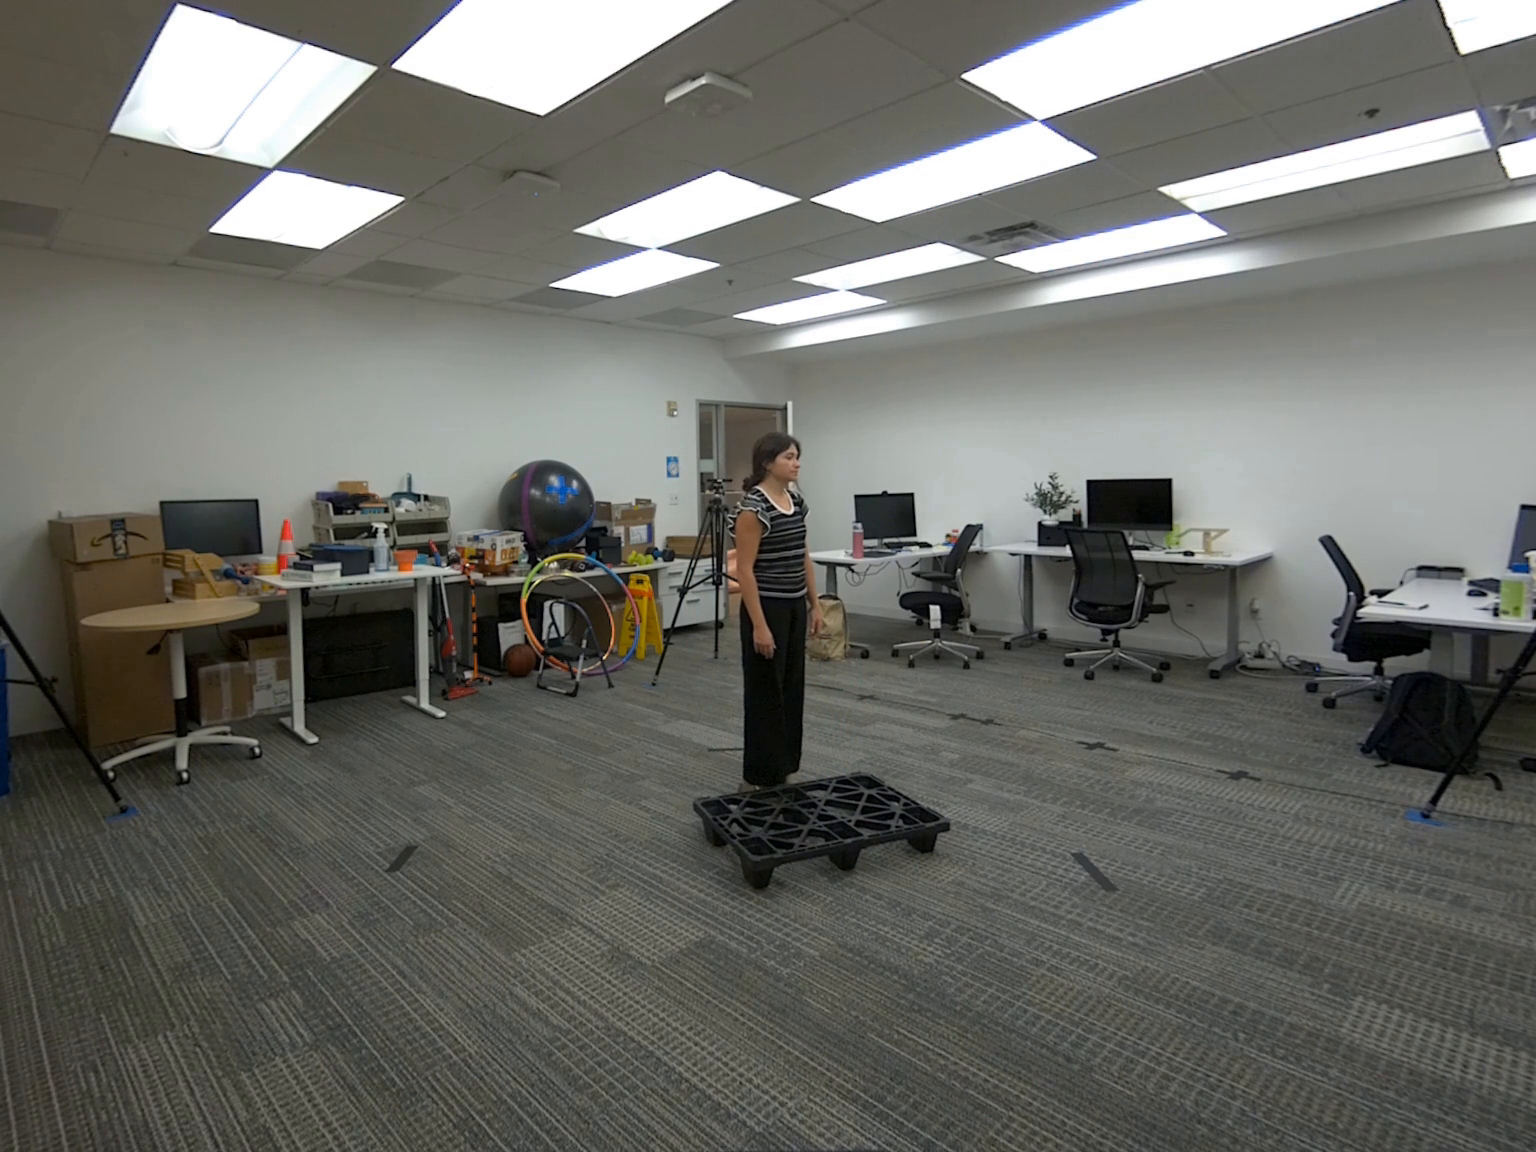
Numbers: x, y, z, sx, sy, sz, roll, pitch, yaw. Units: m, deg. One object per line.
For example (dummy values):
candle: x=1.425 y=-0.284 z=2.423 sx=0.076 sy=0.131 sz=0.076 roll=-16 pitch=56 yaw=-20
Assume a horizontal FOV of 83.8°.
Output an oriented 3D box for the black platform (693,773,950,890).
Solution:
black platform: x=0.192 y=0.957 z=3.252 sx=0.790 sy=0.142 sz=0.620 roll=-4 pitch=7 yaw=-23
